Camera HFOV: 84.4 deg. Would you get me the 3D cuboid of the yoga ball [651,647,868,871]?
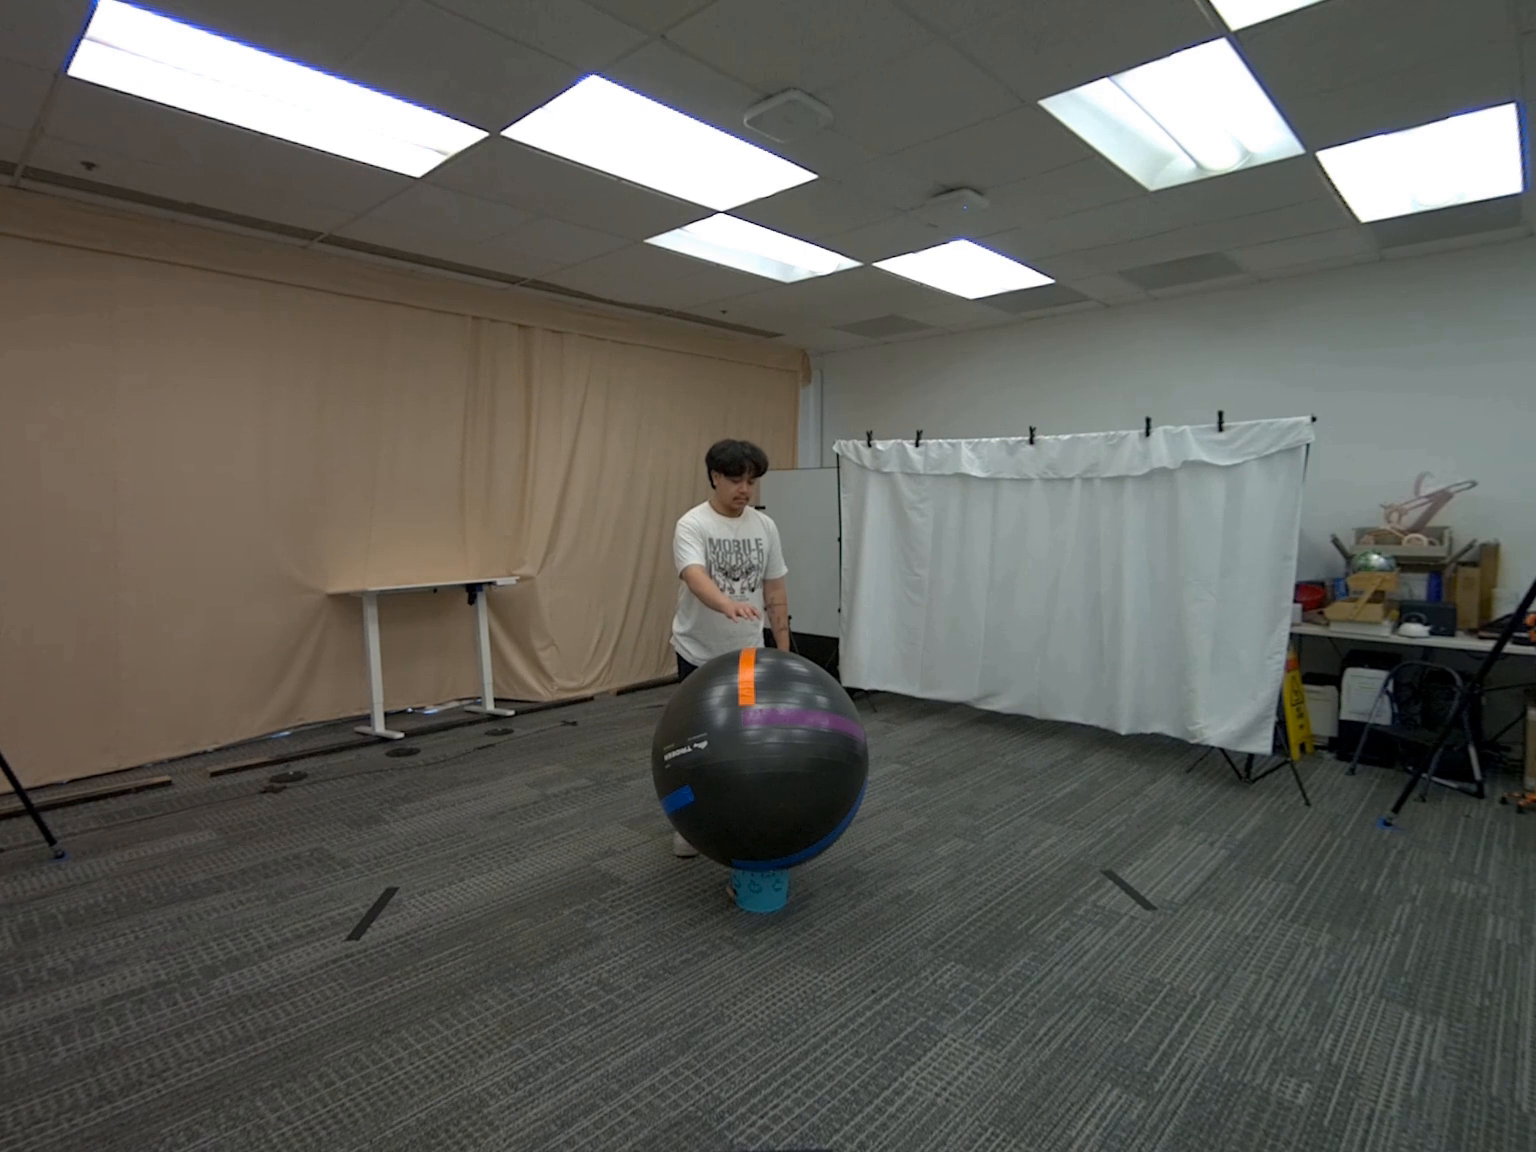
[{"bbox_3d":[-0.031,0.638,2.947,0.757,0.756,0.761,0,4,-2],"label":"yoga ball"}]
